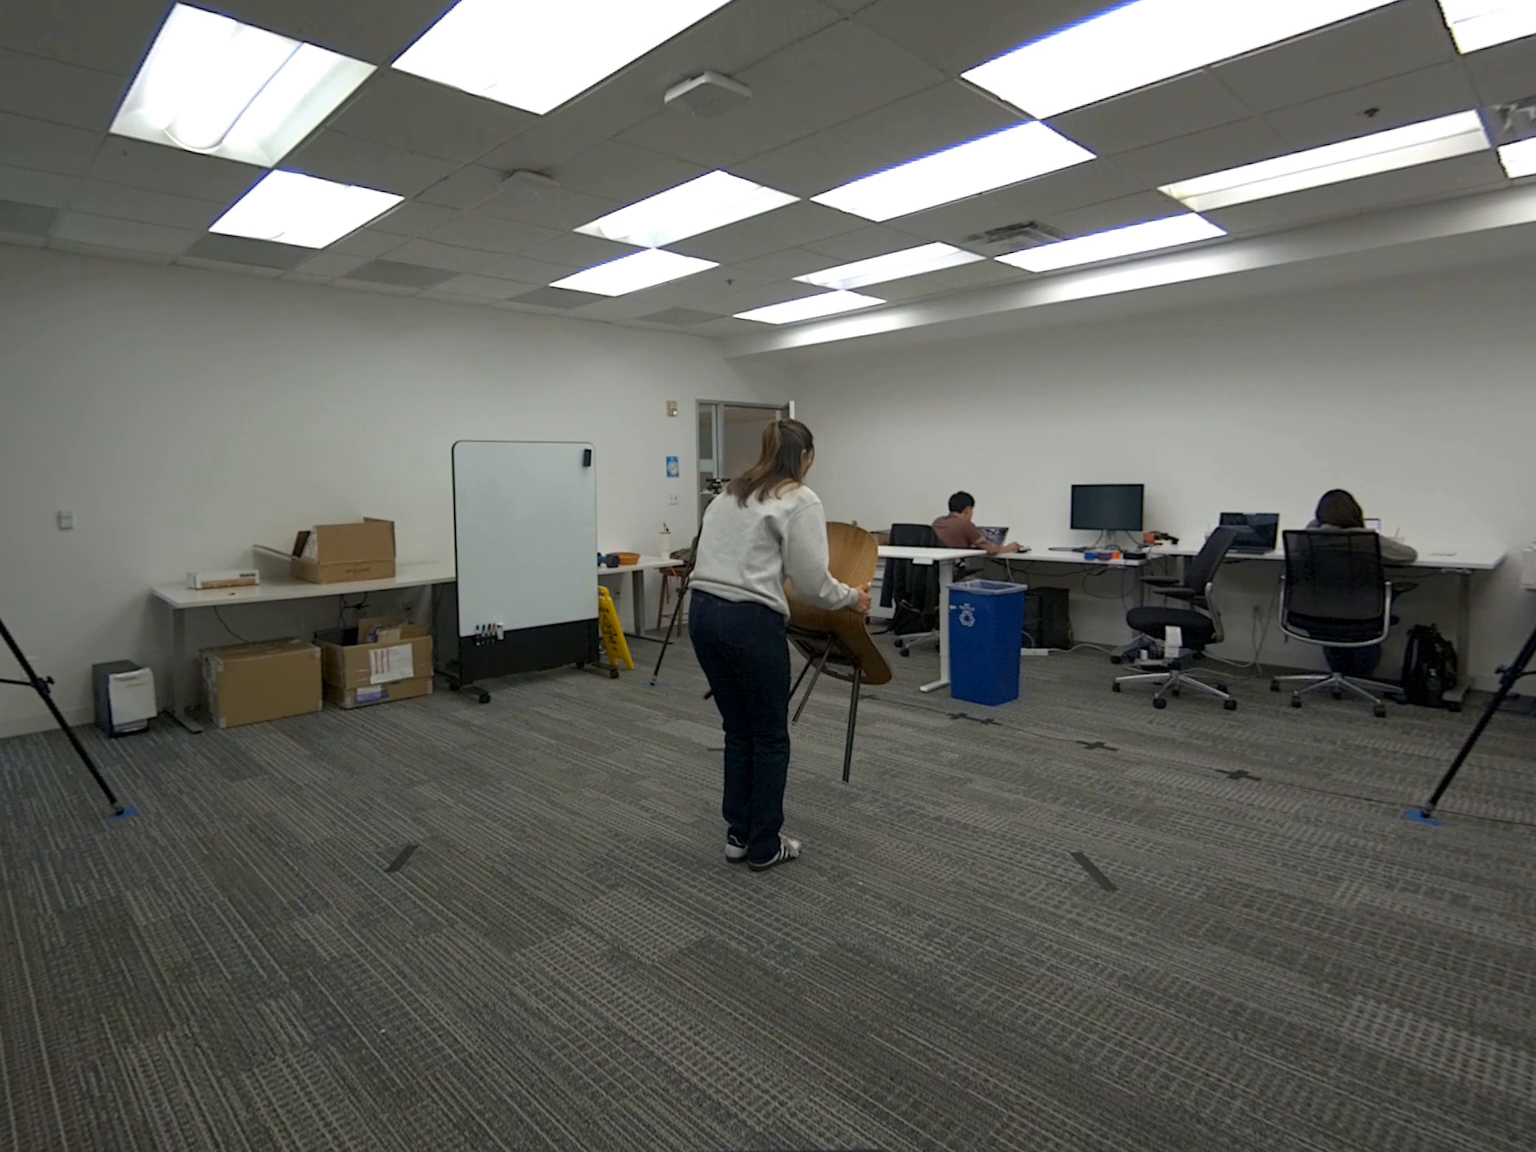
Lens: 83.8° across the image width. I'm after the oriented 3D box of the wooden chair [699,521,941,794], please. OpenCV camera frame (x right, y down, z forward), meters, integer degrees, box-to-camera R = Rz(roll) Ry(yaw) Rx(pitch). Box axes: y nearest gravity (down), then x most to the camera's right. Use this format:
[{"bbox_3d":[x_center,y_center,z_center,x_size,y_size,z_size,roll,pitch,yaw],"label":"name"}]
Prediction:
[{"bbox_3d":[0.228,0.290,3.411,0.493,0.884,0.503,4,-31,41],"label":"wooden chair"}]
